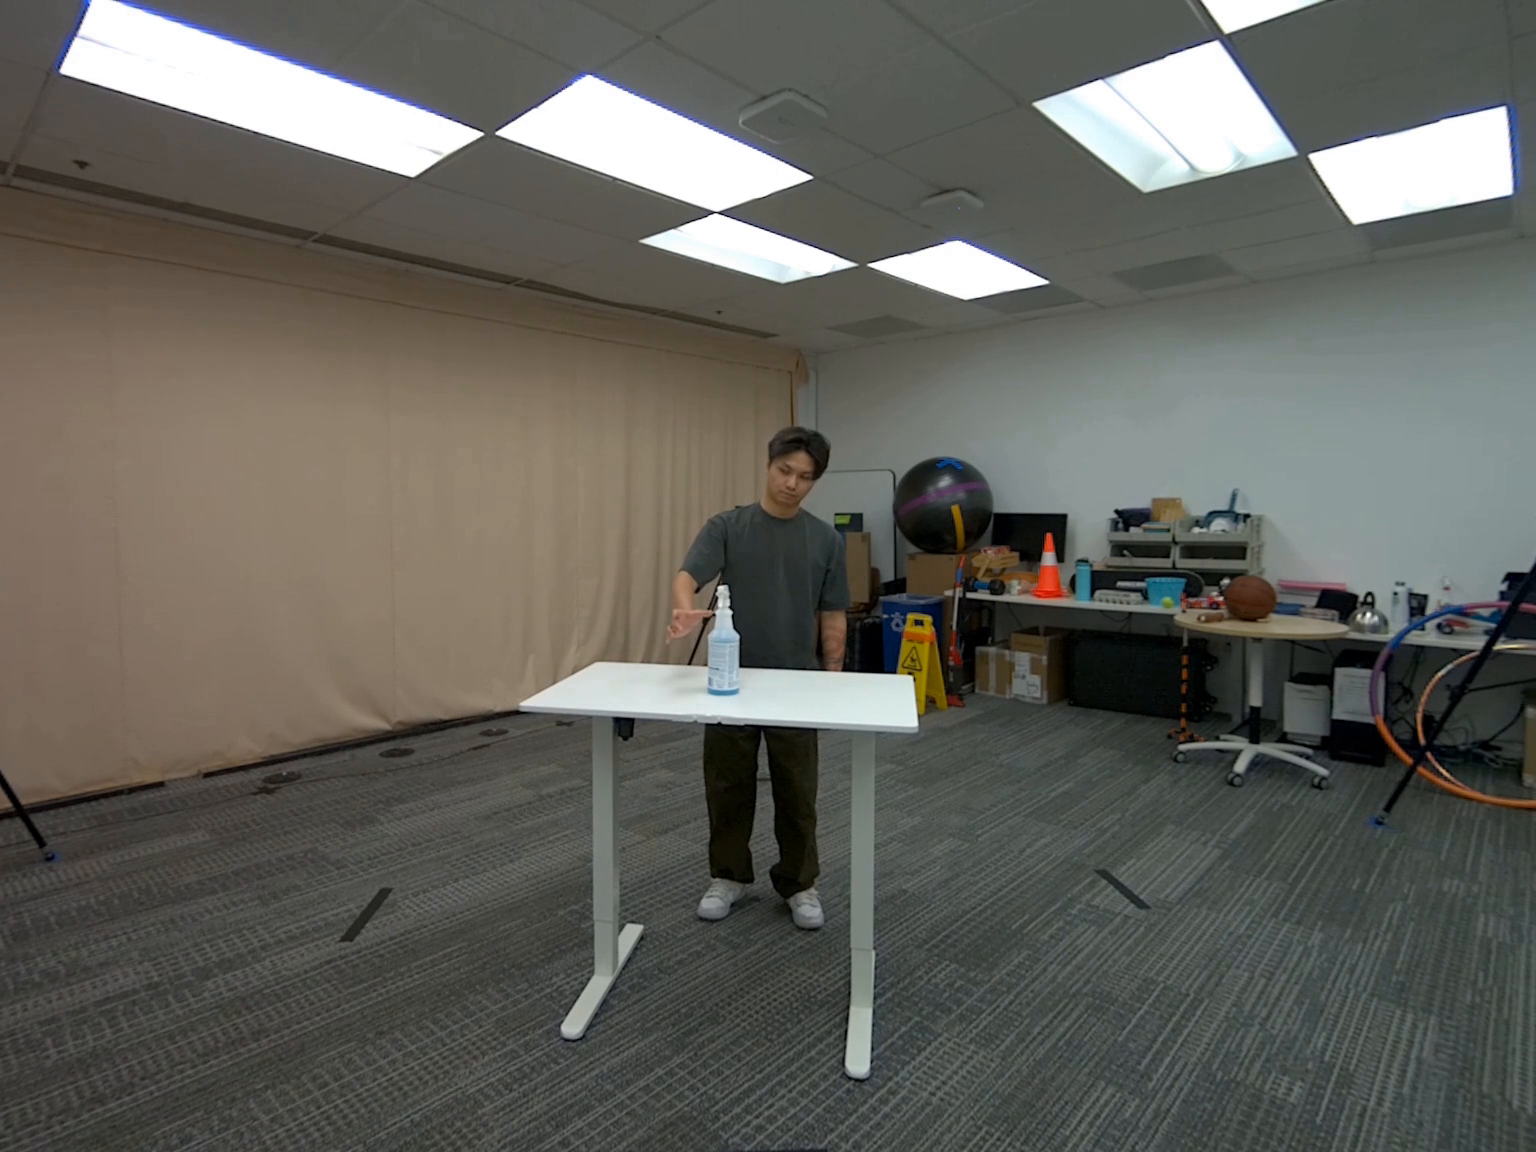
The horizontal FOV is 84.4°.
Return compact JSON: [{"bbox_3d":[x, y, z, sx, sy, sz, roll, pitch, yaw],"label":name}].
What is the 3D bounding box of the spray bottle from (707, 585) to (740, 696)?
[{"bbox_3d":[-0.123,0.174,2.301,0.090,0.296,0.087,6,5,35],"label":"spray bottle"}]
